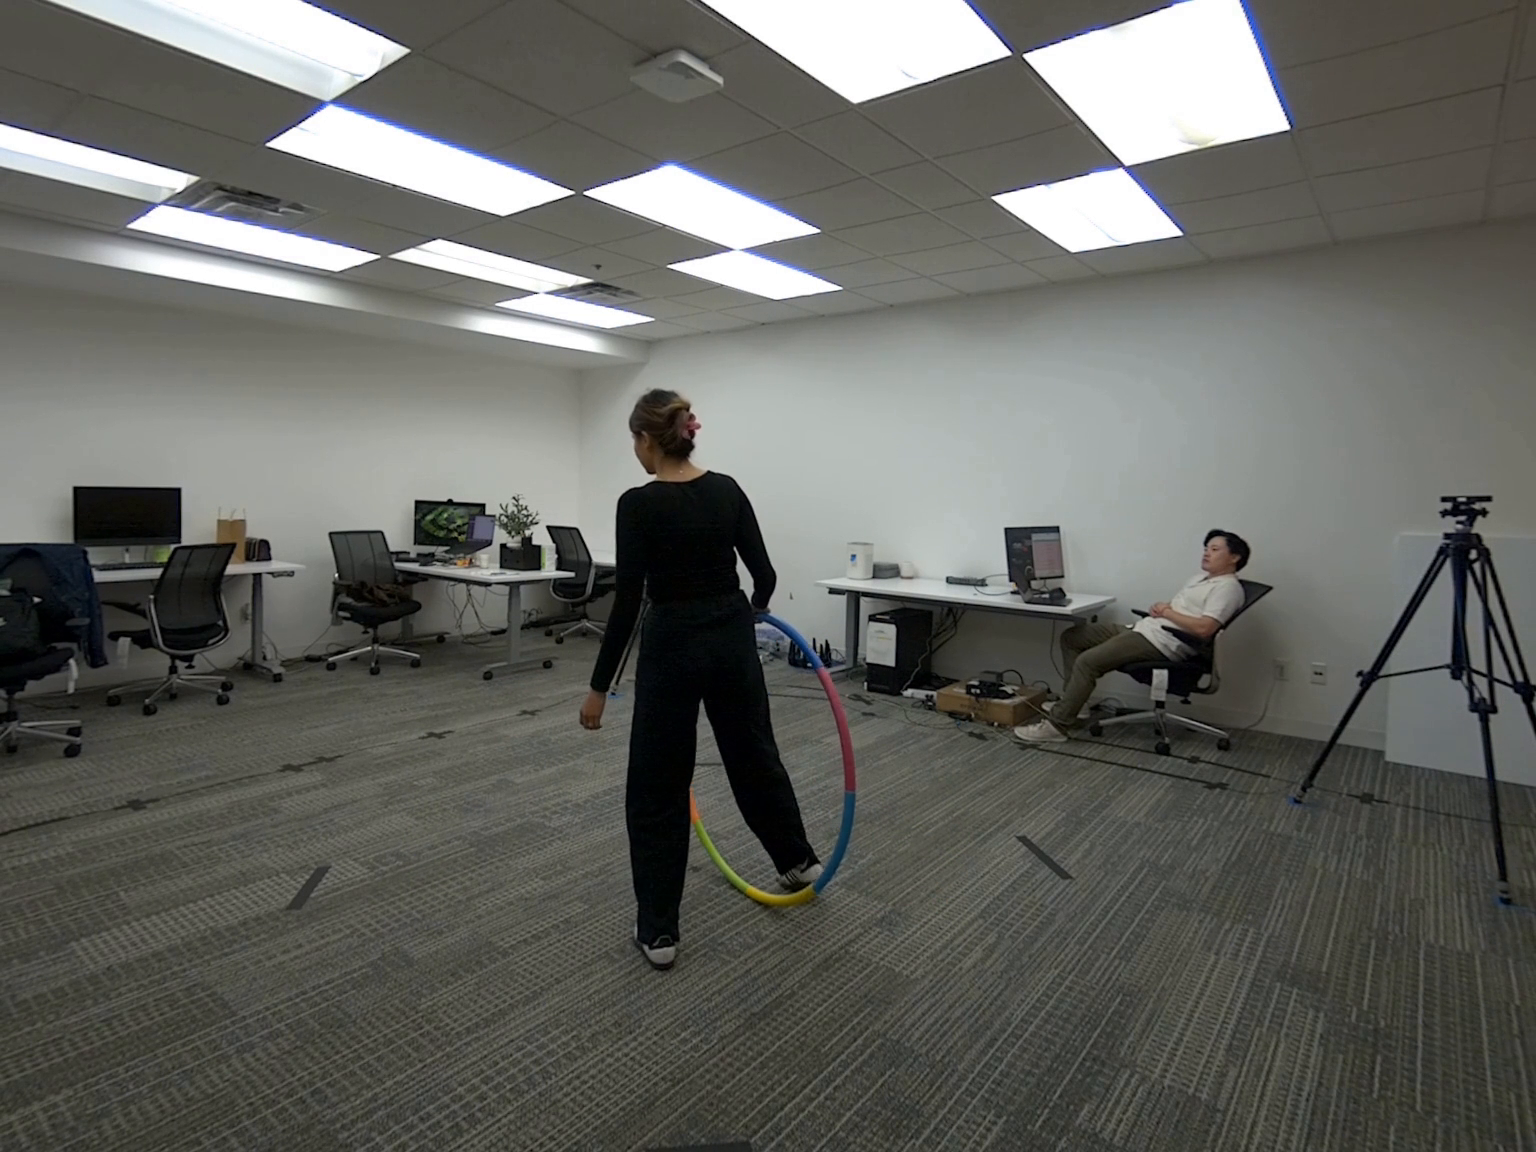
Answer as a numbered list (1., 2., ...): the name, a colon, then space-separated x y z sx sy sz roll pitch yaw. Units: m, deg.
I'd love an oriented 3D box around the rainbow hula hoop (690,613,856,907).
1. rainbow hula hoop: -0.062 0.599 2.902 0.034 0.976 1.011 0 4 -36
